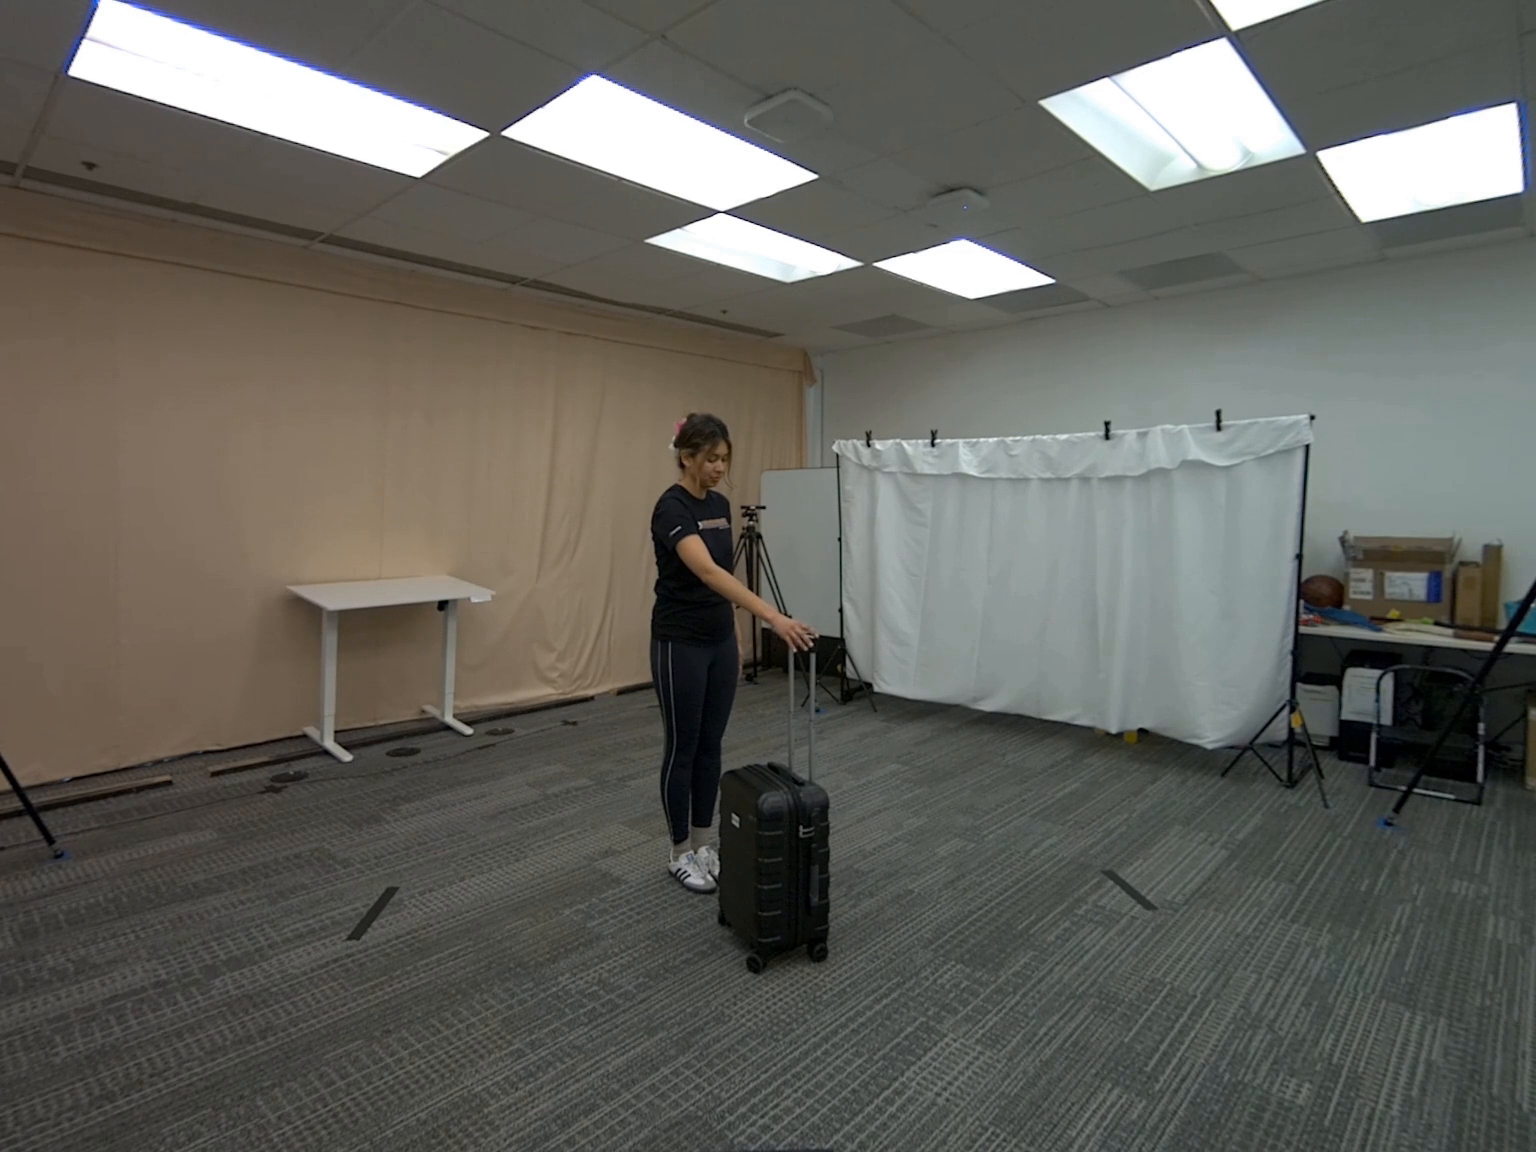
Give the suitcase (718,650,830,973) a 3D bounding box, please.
[{"bbox_3d":[0.019,0.699,2.663,0.252,0.977,0.392,-2,2,-21],"label":"suitcase"}]
